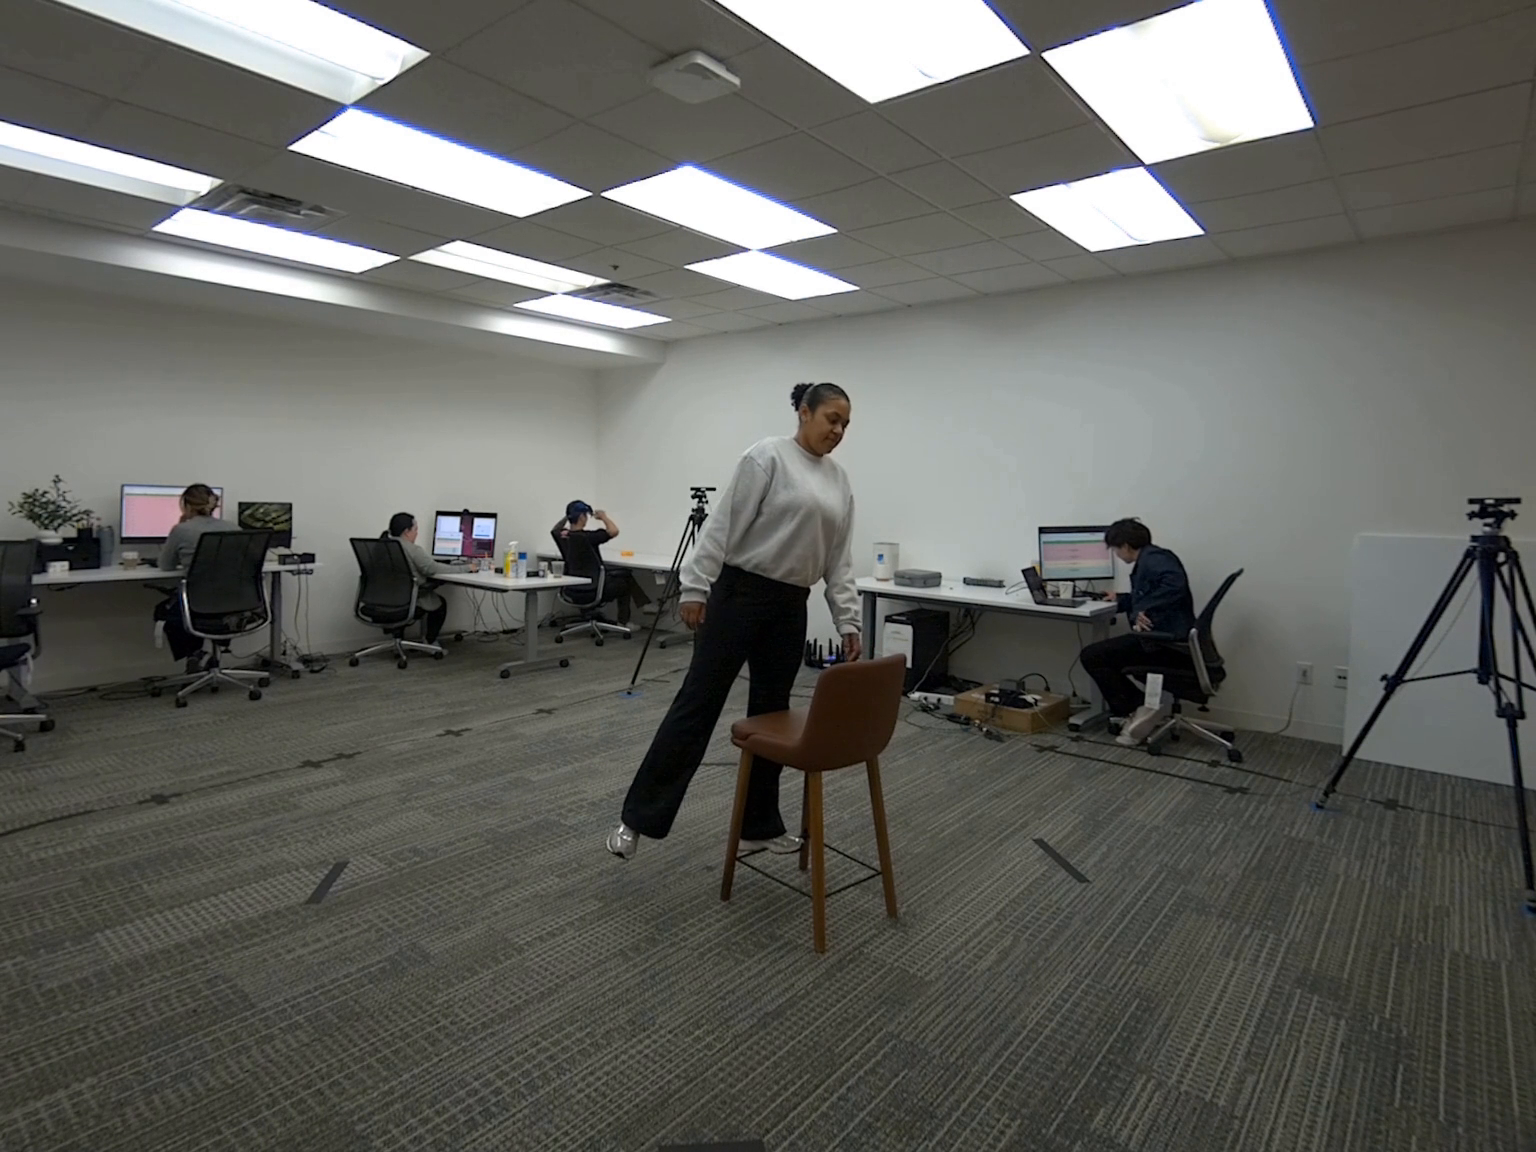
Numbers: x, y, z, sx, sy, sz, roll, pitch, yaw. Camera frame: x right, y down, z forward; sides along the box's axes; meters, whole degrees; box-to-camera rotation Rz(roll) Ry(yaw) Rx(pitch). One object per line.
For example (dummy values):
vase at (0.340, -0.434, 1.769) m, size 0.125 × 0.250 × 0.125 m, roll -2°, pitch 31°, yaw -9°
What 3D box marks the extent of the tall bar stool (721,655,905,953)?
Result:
tall bar stool at (0.149, 0.665, 2.815) m, size 0.442 × 0.886 × 0.484 m, roll -1°, pitch 6°, yaw -42°
